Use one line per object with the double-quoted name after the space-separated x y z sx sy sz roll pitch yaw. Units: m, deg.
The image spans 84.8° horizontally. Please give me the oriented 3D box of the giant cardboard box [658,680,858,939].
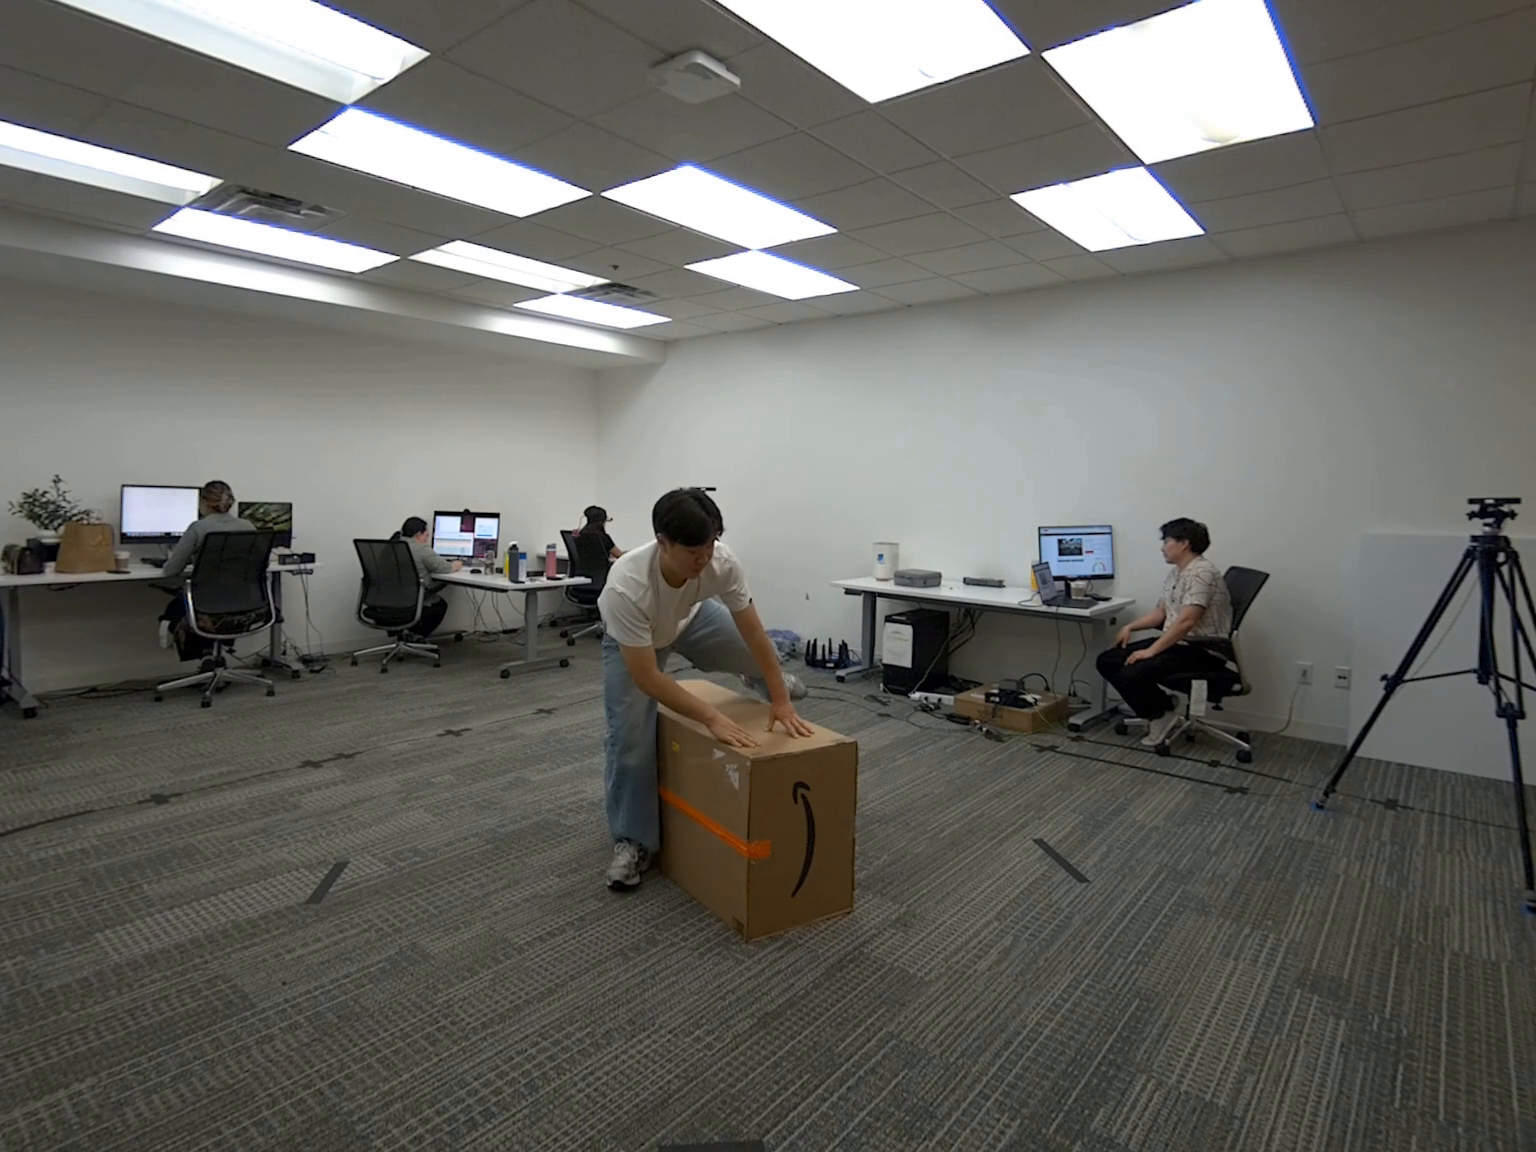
-0.180 0.779 3.122 0.414 0.576 1.059 -1 5 -33 "giant cardboard box"
